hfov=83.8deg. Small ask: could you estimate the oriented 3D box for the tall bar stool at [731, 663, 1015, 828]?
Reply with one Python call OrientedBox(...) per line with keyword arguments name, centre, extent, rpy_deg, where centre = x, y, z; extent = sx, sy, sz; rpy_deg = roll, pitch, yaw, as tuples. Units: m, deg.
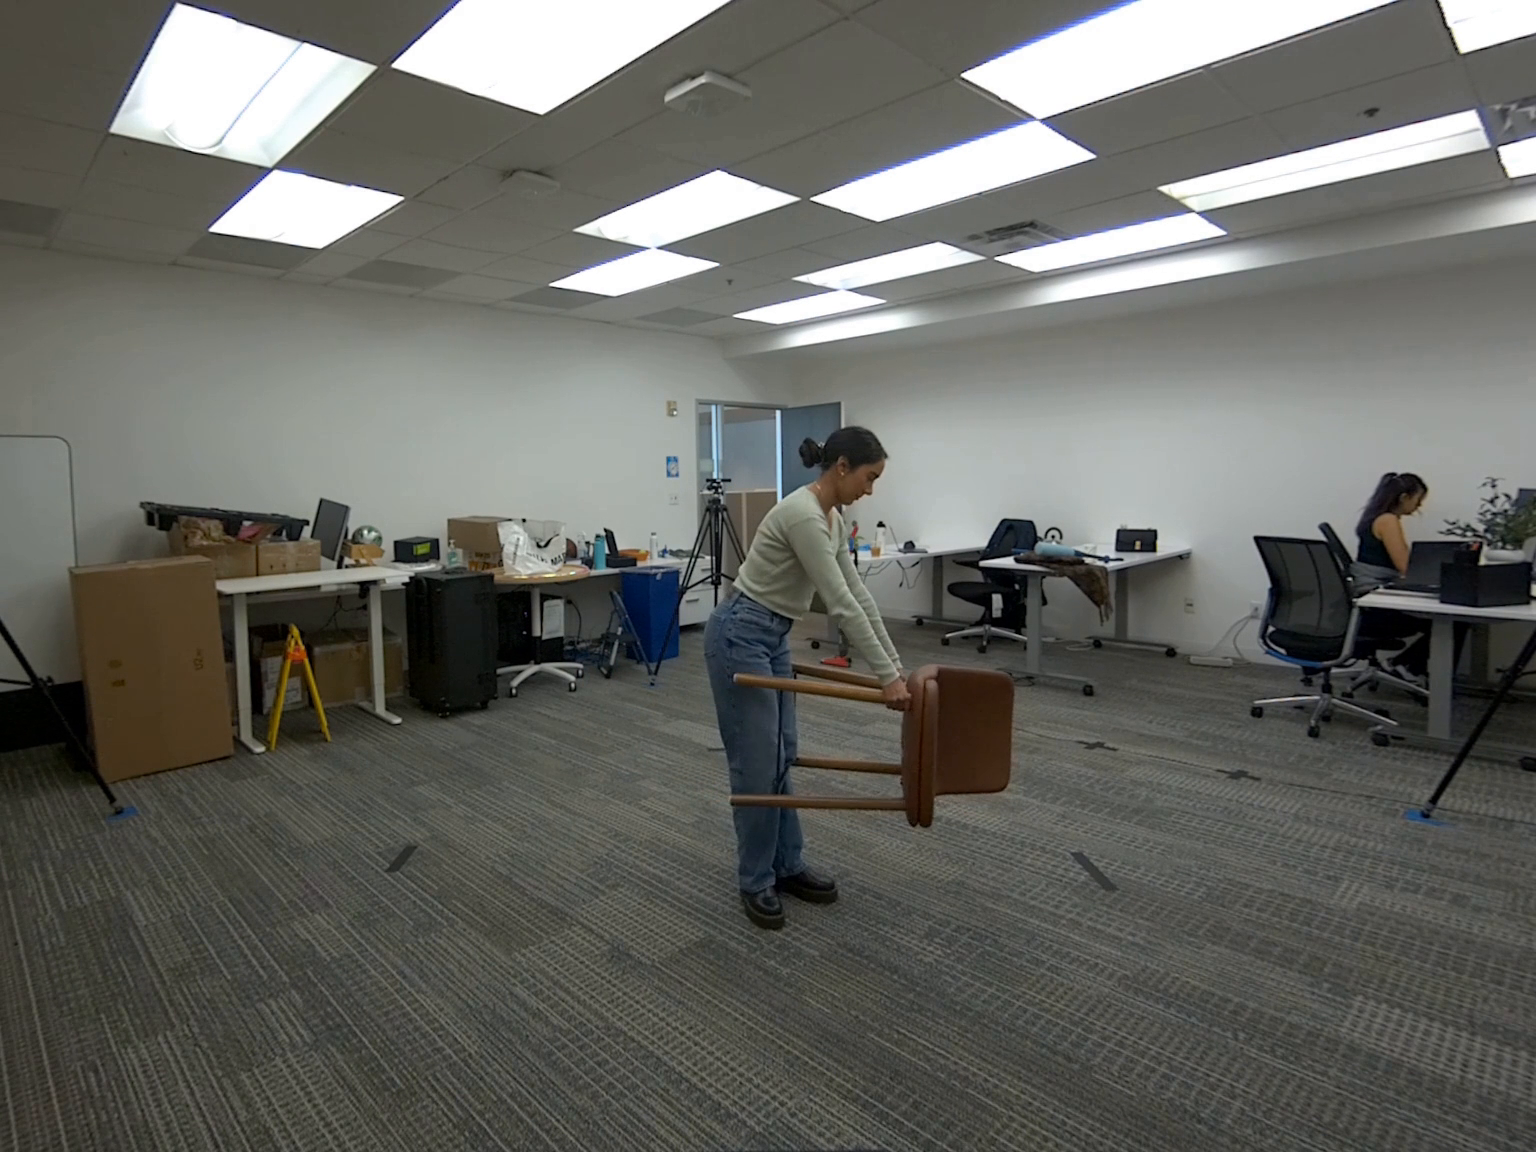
OrientedBox(name="tall bar stool", centre=(0.359, 0.515, 2.753), extent=(0.900, 0.456, 0.463), rpy_deg=(4, 3, 11))
